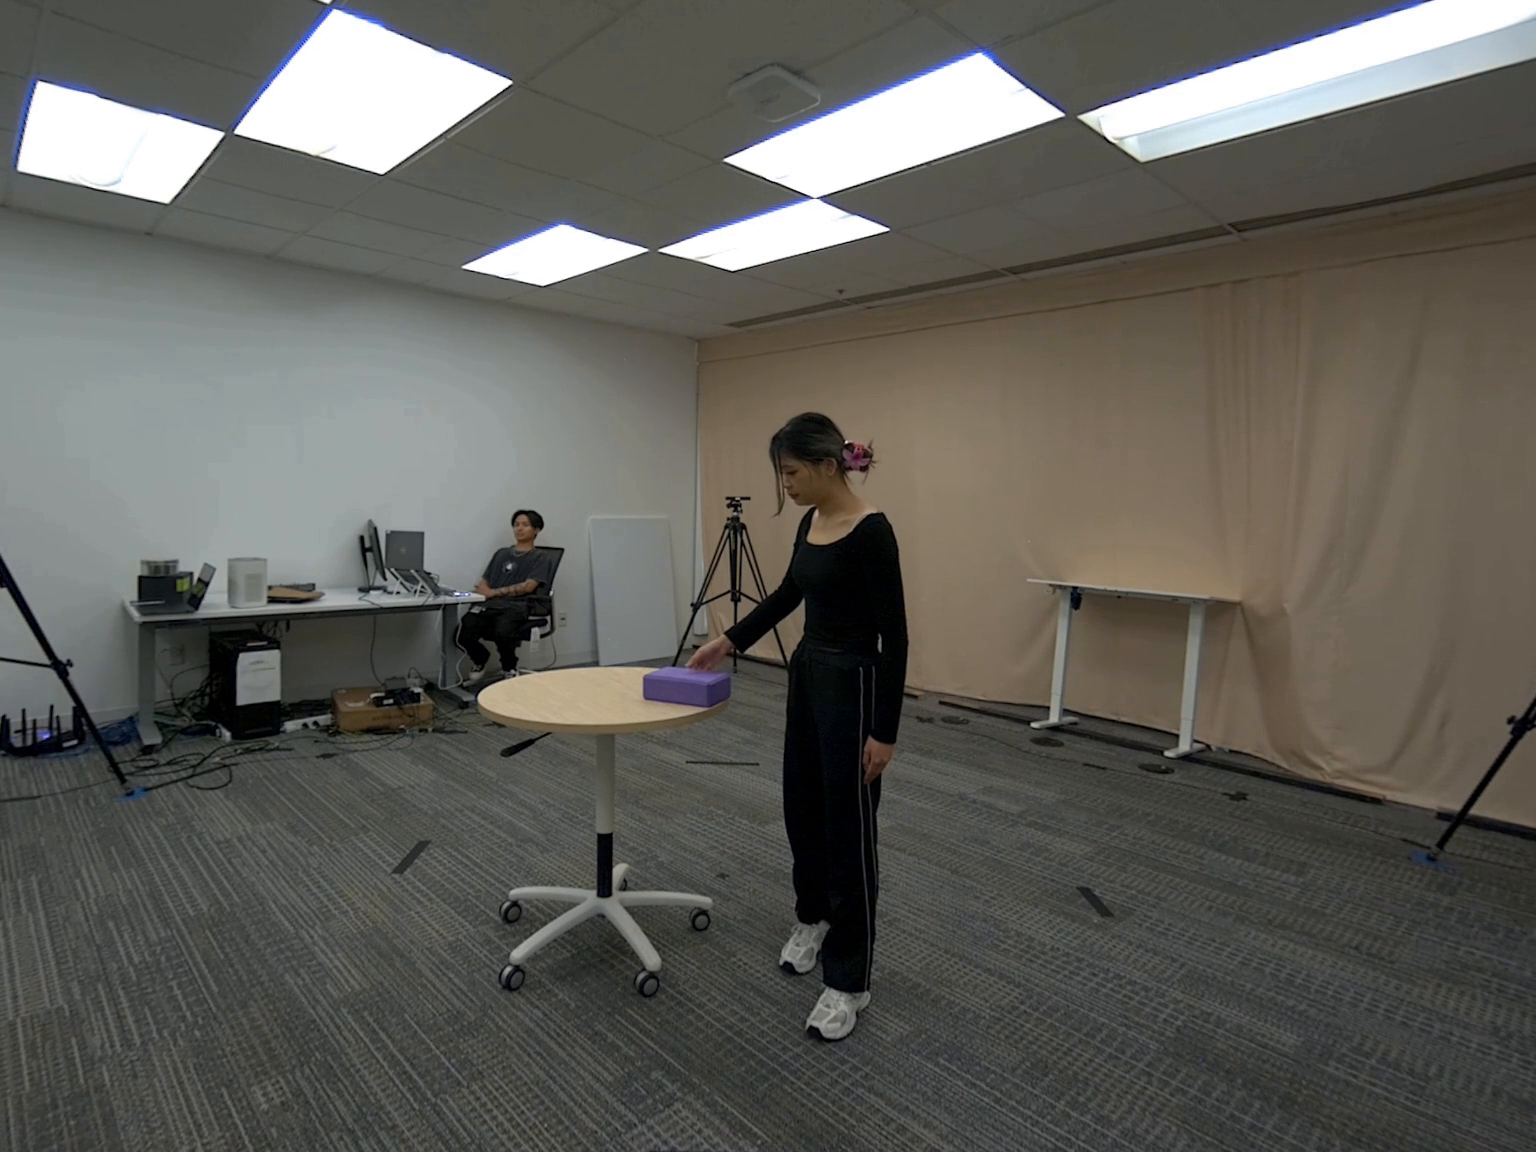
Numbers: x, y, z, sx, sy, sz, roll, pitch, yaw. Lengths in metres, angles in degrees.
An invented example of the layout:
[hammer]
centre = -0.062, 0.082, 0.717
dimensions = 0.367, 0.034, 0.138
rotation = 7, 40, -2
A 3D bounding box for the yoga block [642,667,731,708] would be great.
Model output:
[yoga block]
centre = -0.248, 0.334, 2.518
dimensions = 0.234, 0.076, 0.147
rotation = 2, 6, 25
